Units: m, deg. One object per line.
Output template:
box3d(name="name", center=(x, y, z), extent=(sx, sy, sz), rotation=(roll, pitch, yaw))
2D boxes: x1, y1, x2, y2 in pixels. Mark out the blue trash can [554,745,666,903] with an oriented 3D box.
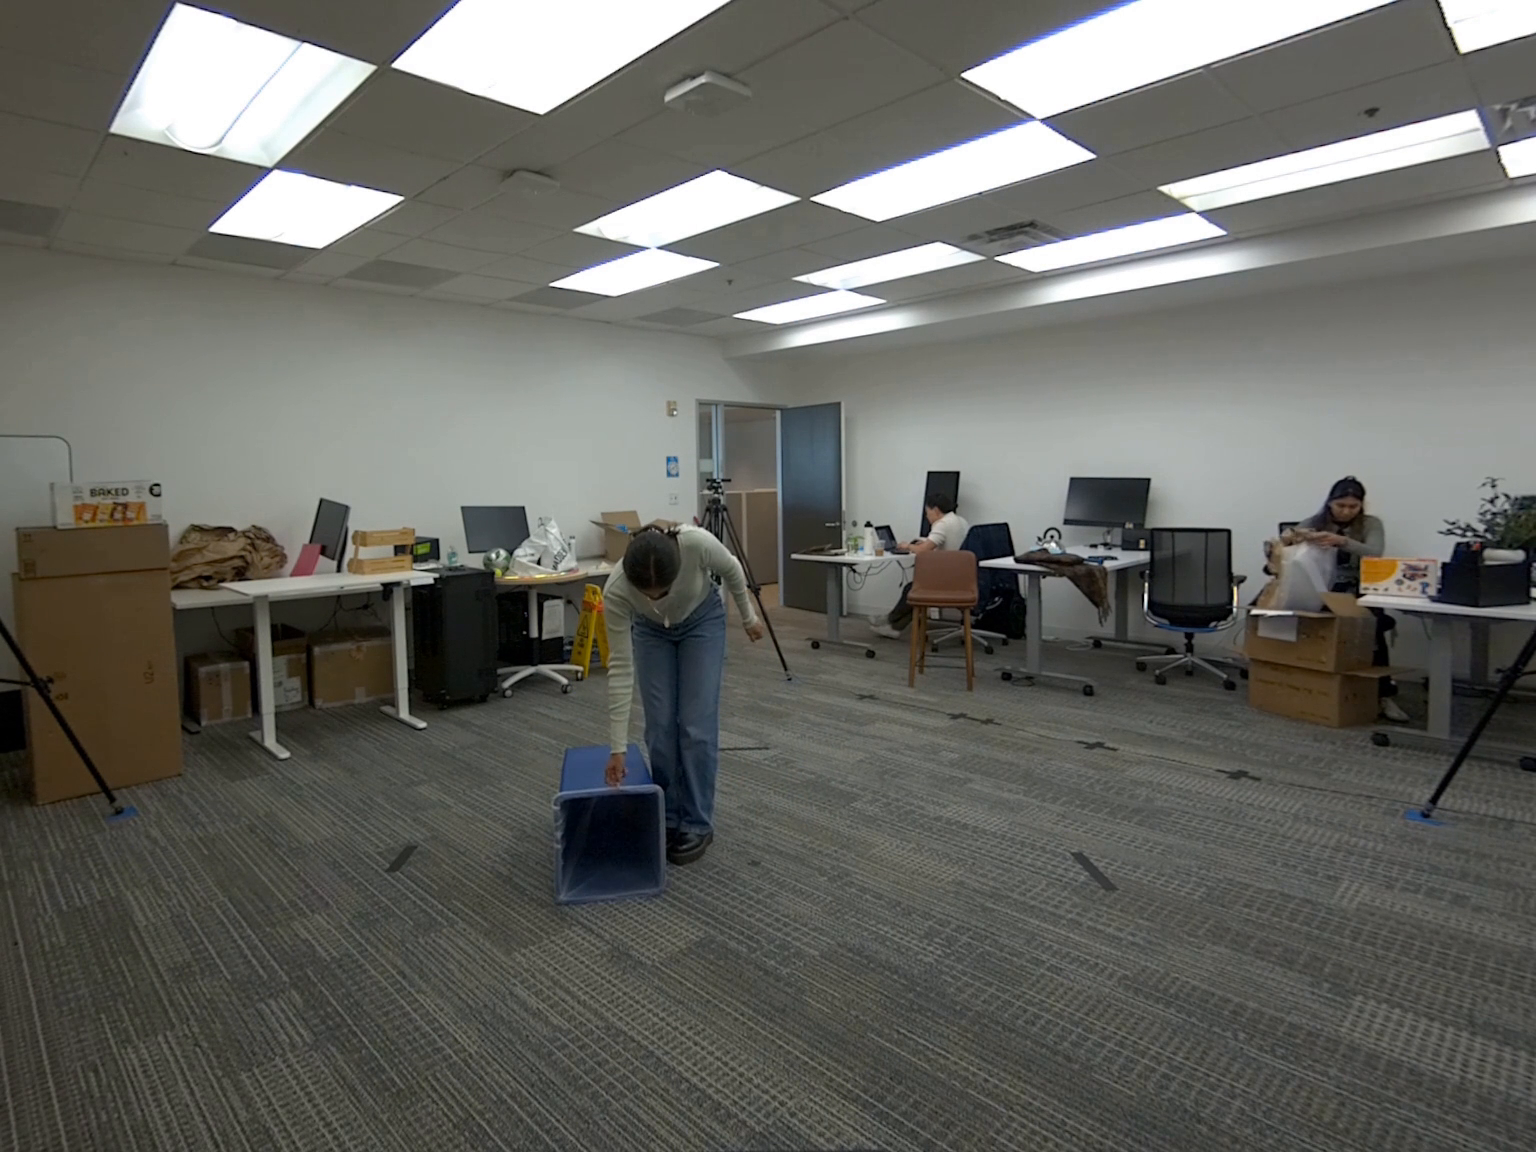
box3d(name="blue trash can", center=(-0.599, 0.859, 3.189), extent=(0.370, 0.377, 0.722), rotation=(-2, 4, -11))
